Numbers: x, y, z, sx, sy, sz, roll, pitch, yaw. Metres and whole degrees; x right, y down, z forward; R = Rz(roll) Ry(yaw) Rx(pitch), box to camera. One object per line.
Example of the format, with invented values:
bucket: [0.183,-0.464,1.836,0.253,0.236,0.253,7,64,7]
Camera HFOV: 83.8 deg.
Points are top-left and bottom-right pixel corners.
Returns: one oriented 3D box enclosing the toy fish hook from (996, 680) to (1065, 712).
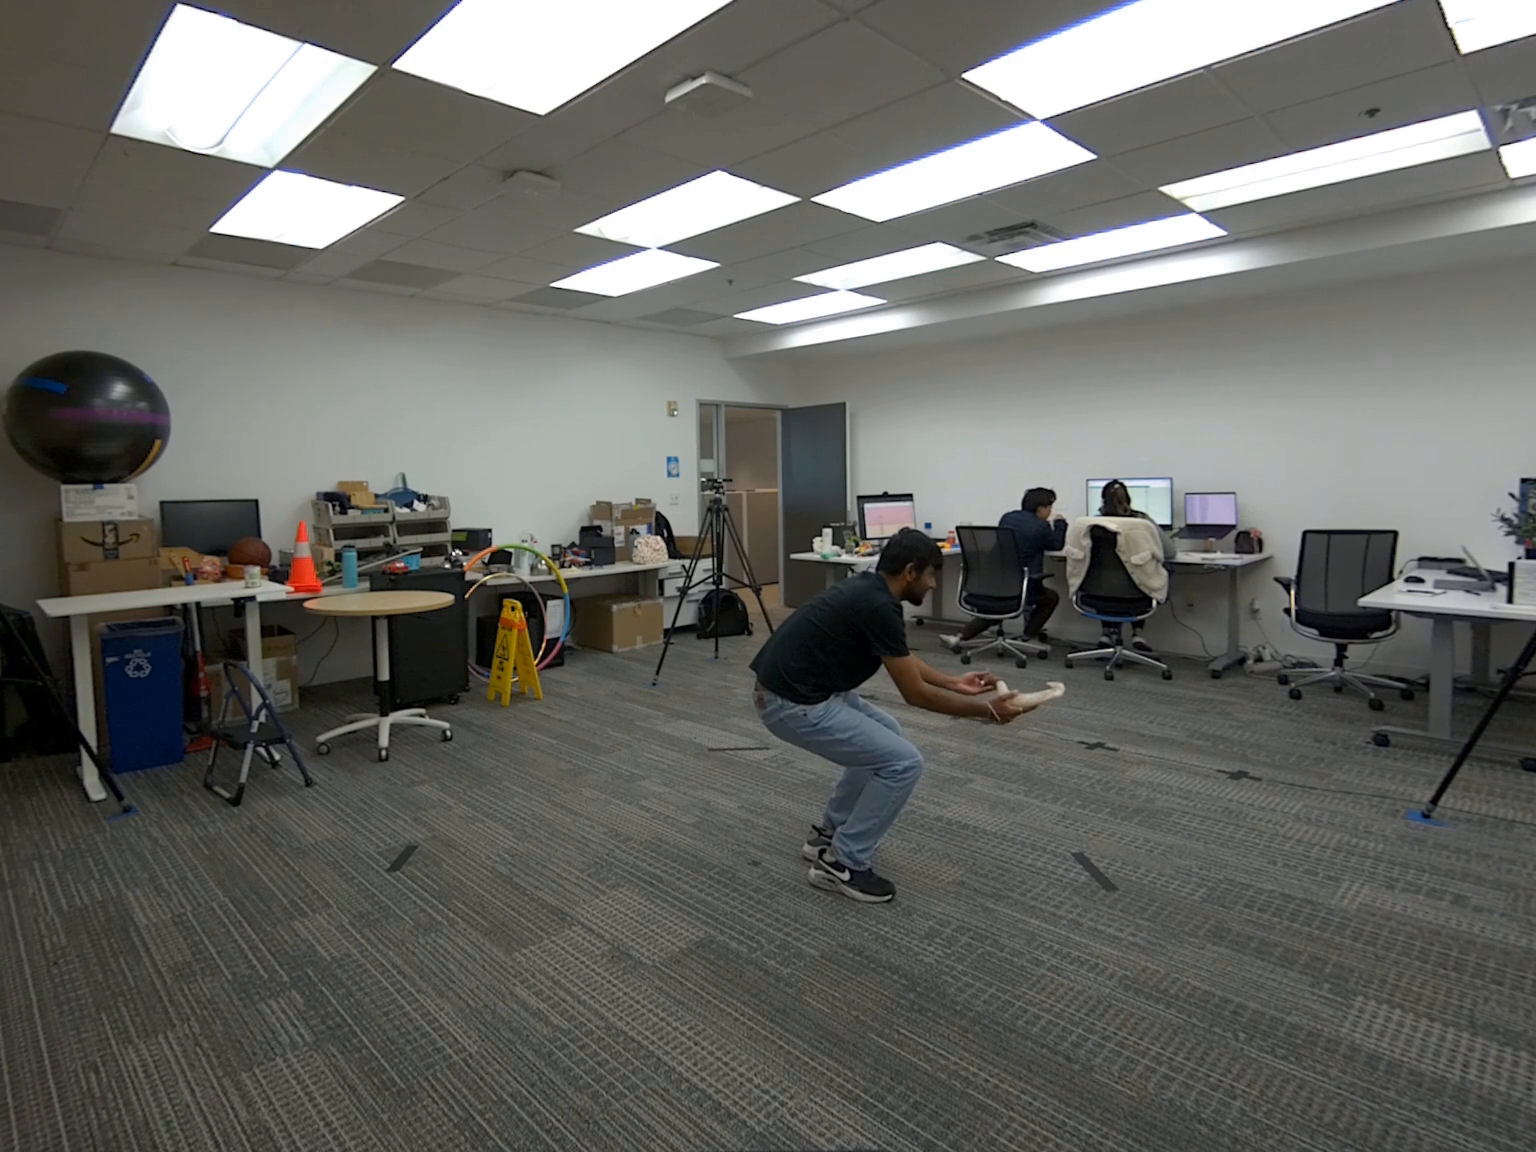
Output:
toy fish hook: [0.883,0.401,3.081,0.224,0.048,0.508,-9,5,-1]
